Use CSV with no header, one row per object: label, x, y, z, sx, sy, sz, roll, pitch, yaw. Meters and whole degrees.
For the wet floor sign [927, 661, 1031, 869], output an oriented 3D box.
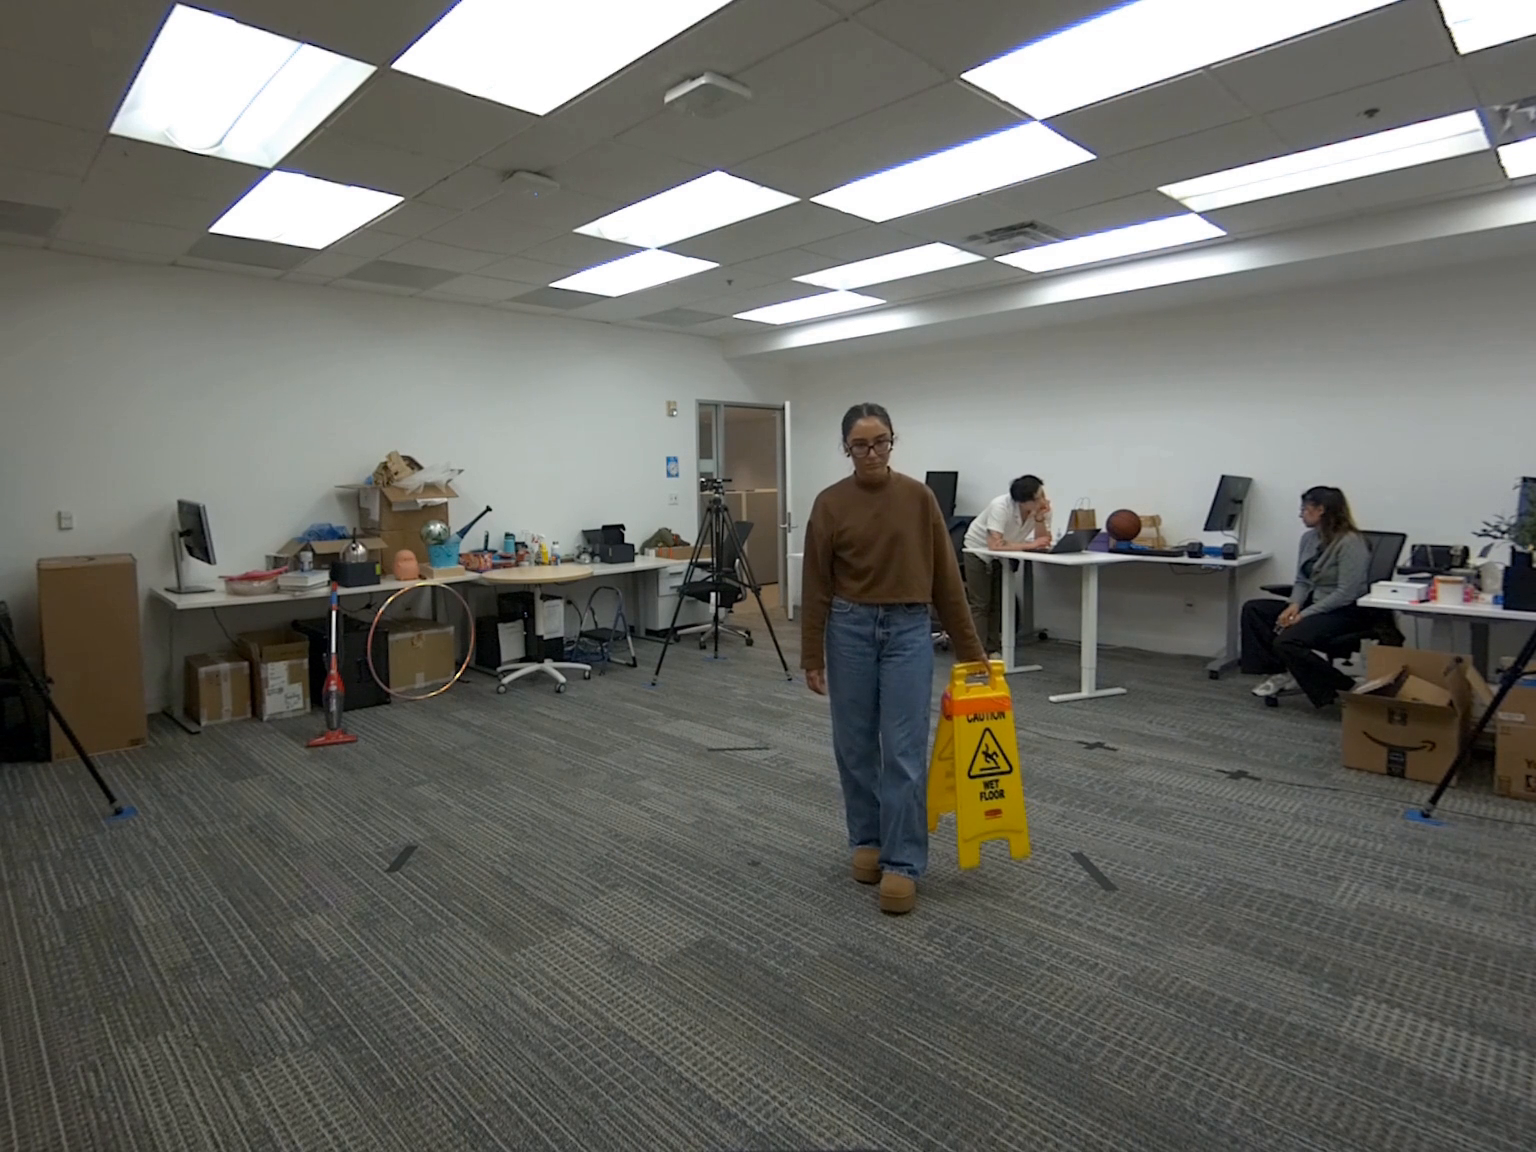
wet floor sign,0.706,0.608,2.927,0.277,0.643,0.296,-1,6,-20
